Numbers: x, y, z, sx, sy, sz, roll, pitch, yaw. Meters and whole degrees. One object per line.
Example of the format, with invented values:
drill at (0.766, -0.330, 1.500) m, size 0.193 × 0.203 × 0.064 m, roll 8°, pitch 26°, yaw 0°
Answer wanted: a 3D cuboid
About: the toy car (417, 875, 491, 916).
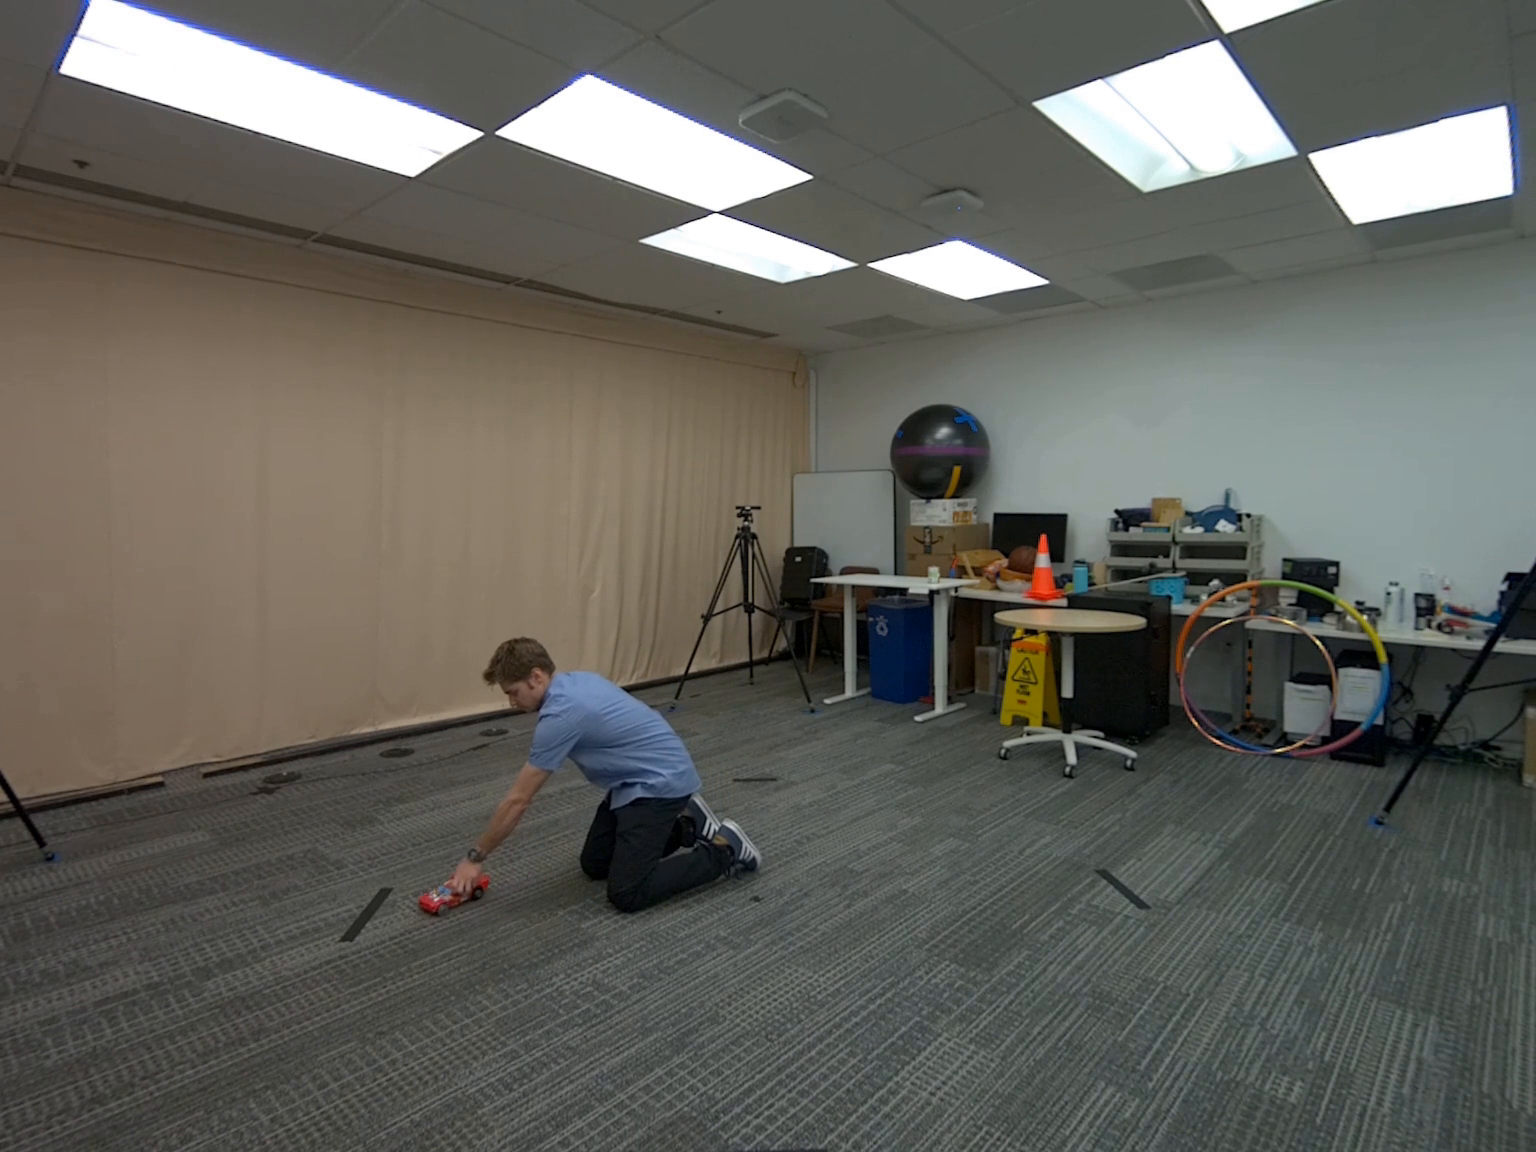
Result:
toy car at (-1.102, 1.129, 2.981) m, size 0.134 × 0.082 × 0.249 m, roll 2°, pitch 16°, yaw 35°
